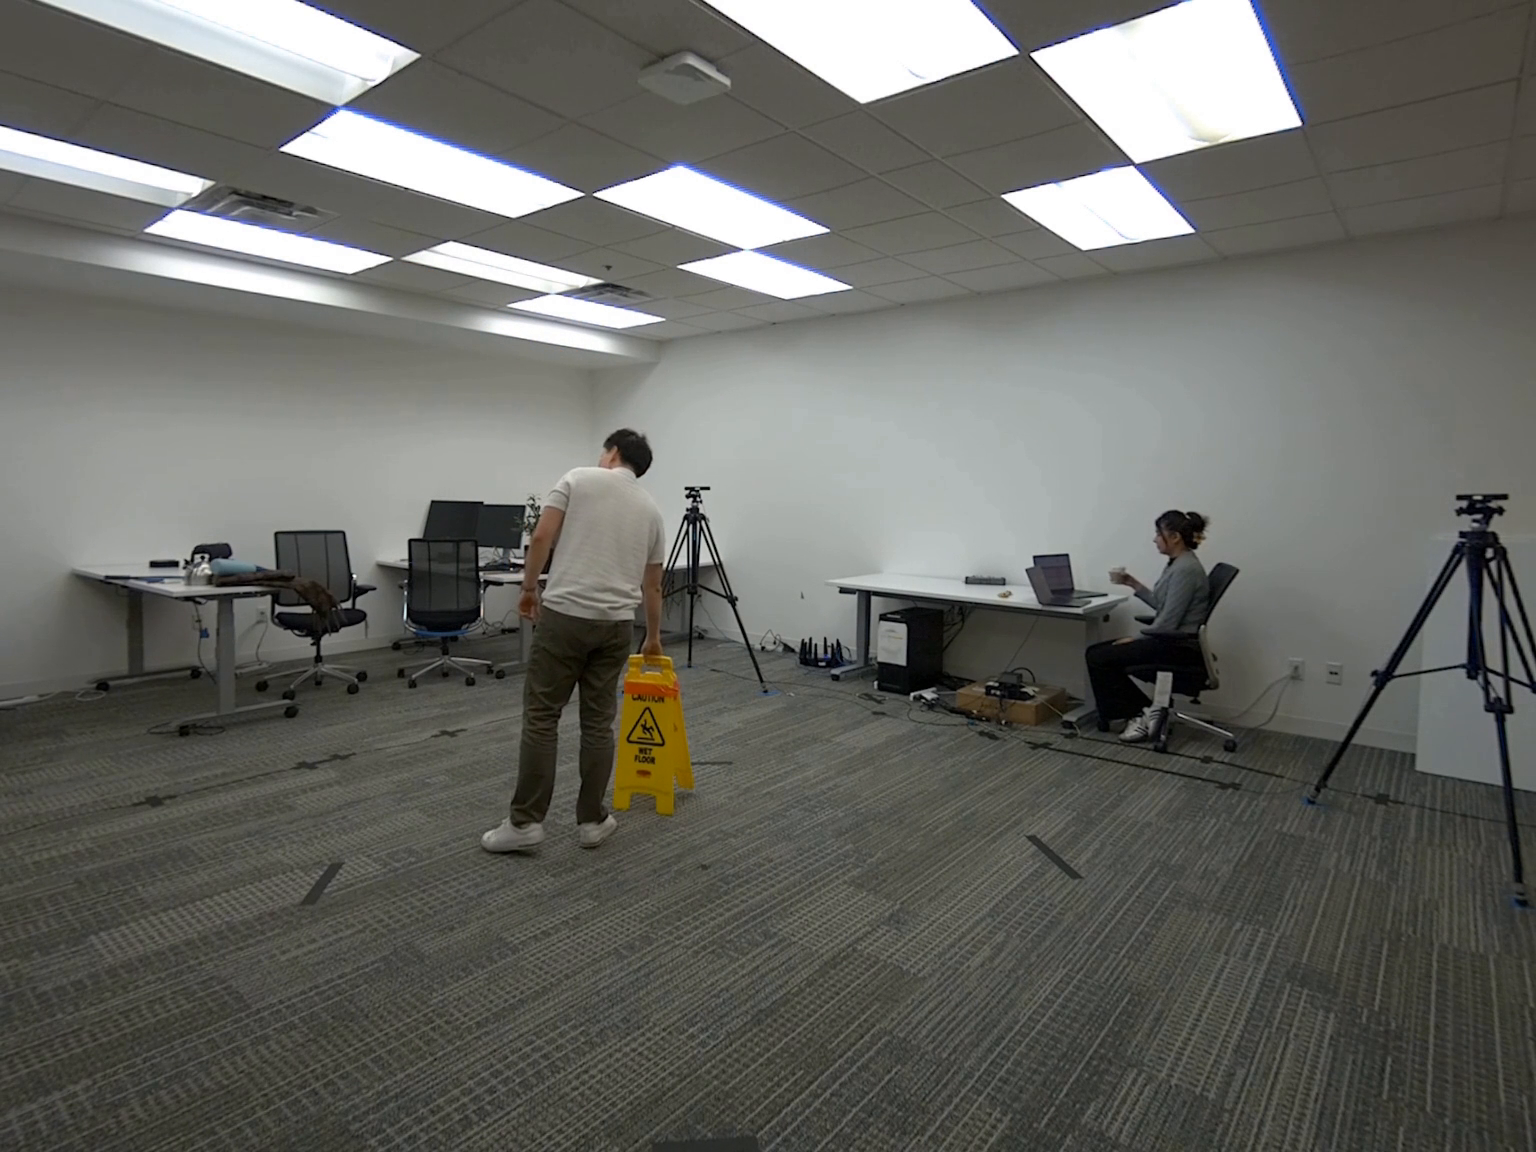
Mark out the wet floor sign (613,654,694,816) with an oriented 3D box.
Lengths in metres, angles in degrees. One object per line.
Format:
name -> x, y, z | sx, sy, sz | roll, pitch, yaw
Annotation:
wet floor sign -> -0.523, 0.660, 3.743 | 0.287, 0.642, 0.287 | 0, 6, 15
